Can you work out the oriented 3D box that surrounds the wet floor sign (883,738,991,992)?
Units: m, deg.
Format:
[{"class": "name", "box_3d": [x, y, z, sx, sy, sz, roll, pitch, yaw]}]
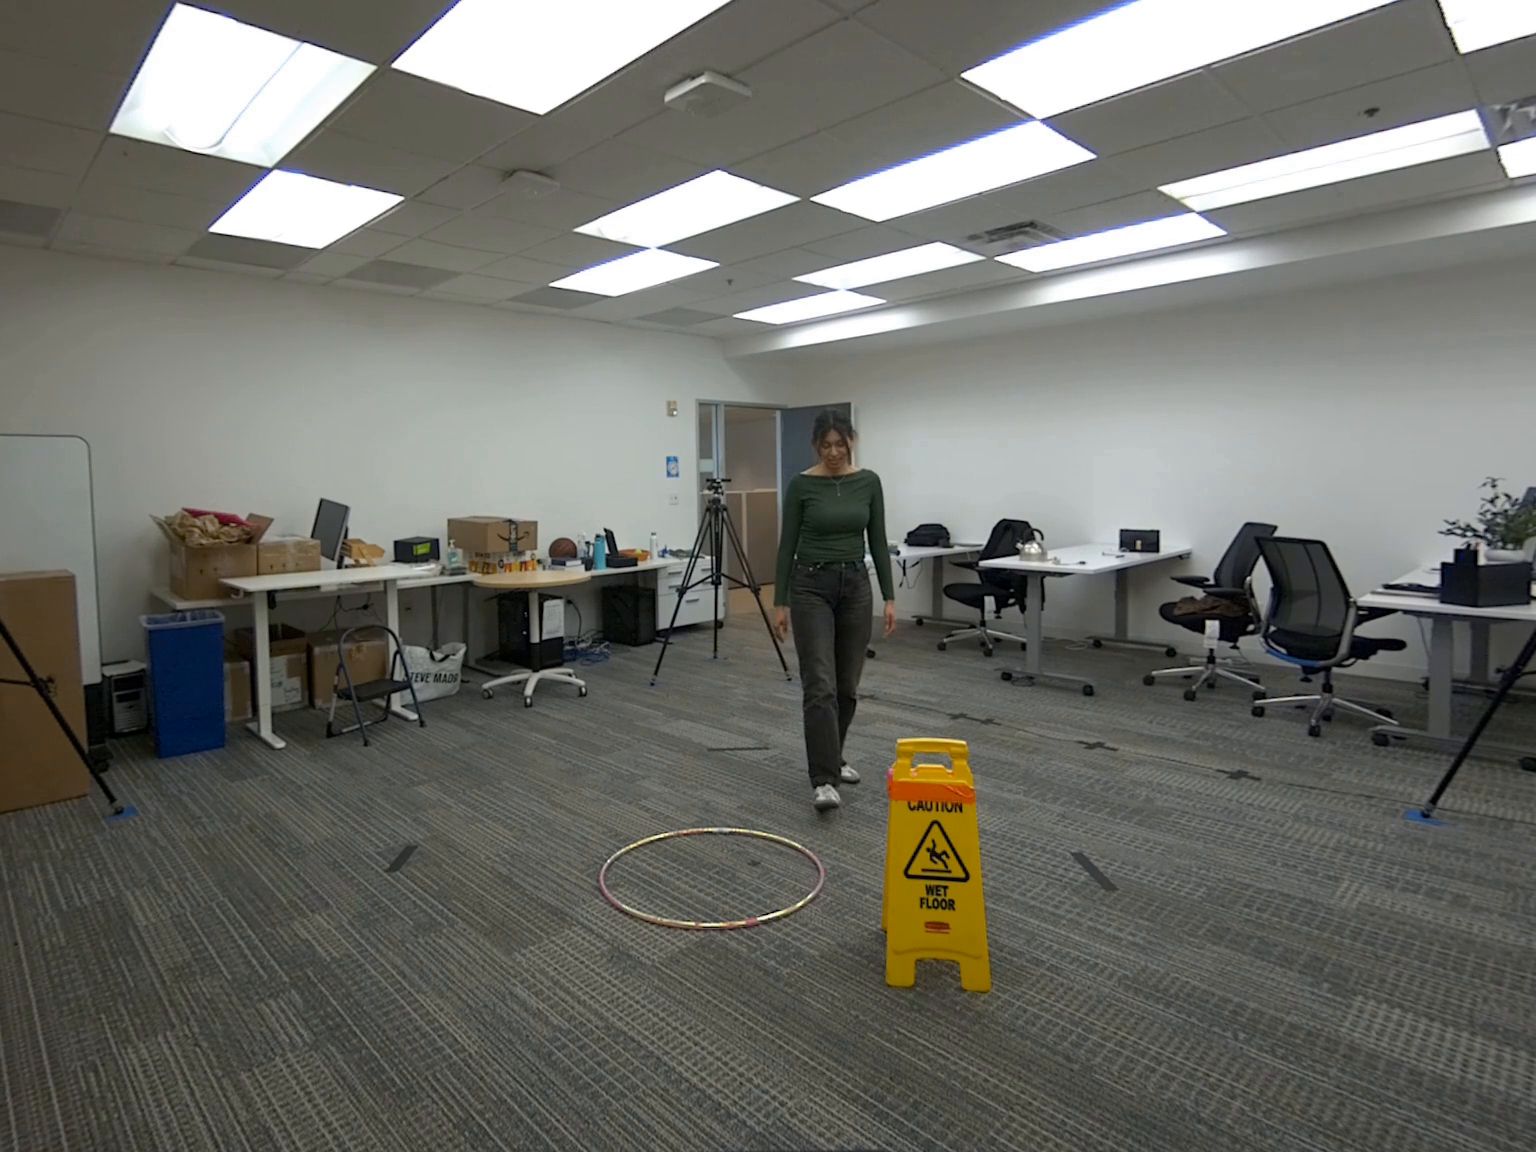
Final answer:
[{"class": "wet floor sign", "box_3d": [0.470, 0.789, 2.454, 0.284, 0.644, 0.289, -1, 4, 7]}]
